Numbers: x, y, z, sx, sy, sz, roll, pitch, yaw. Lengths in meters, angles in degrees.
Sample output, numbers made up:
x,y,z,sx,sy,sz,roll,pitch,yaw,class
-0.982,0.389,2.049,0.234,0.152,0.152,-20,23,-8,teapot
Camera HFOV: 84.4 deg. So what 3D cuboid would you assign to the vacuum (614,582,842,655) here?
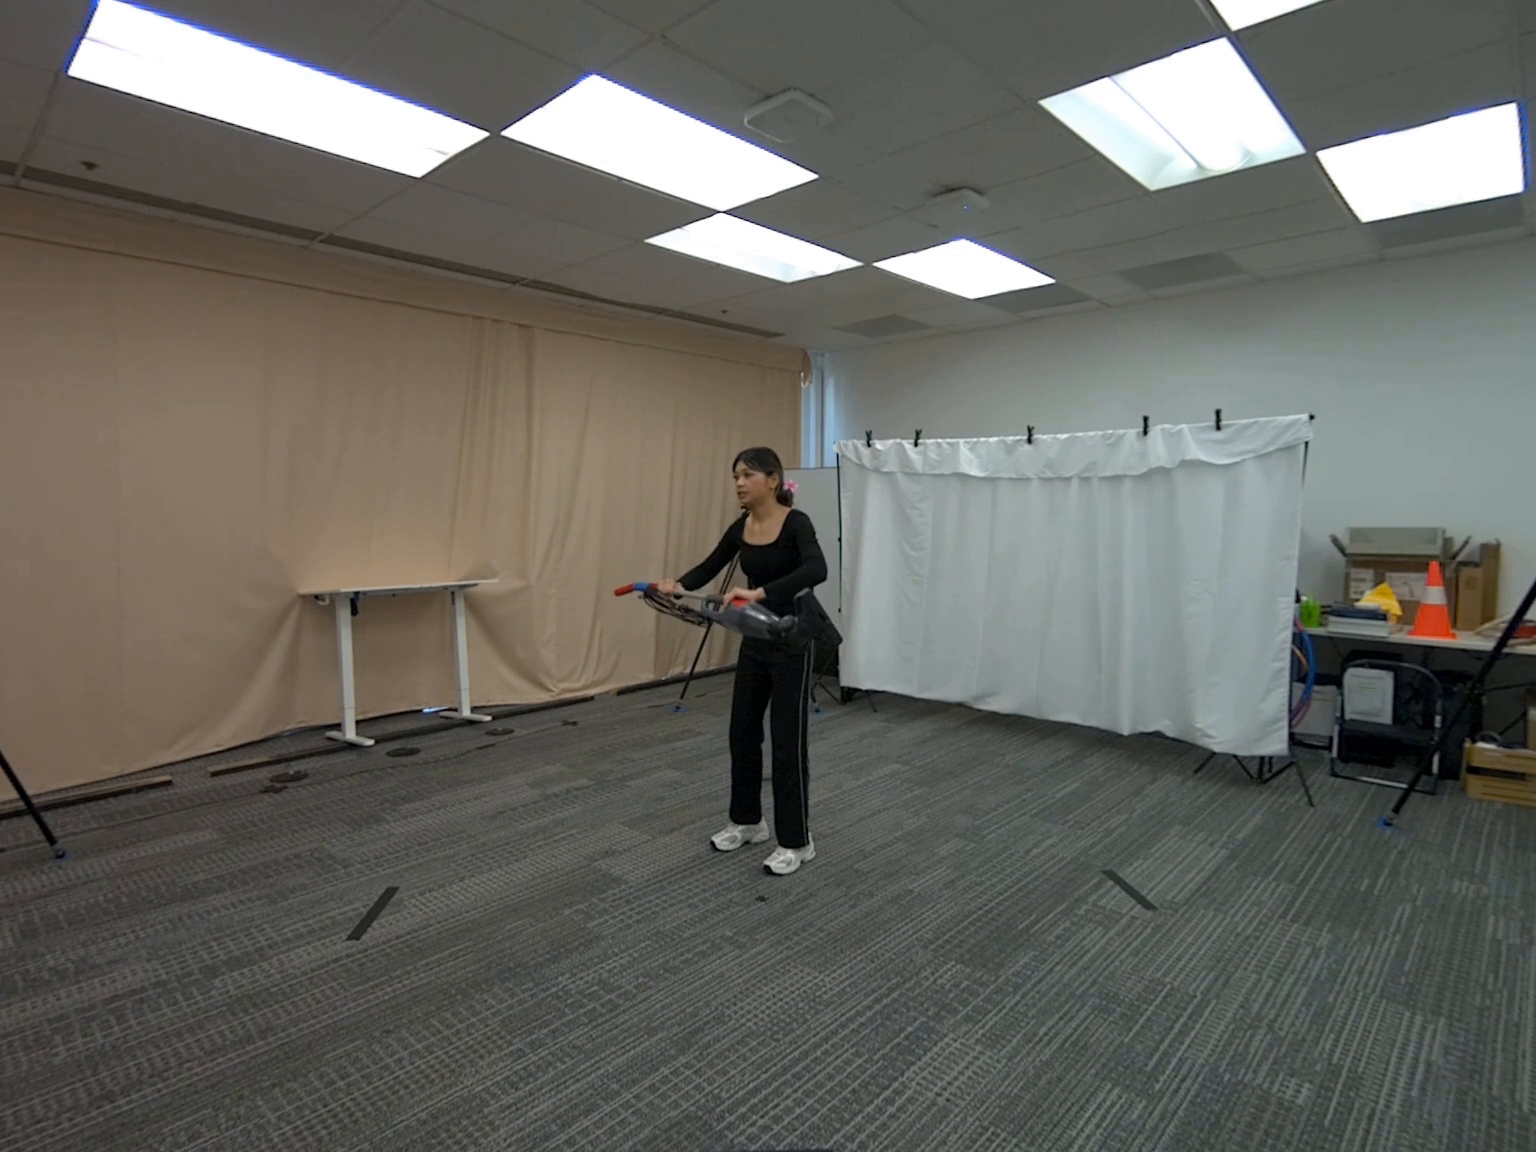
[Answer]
x,y,z,sx,sy,sz,roll,pitch,yaw,class
-0.233,0.119,3.055,1.085,0.143,0.245,7,-35,48,vacuum
